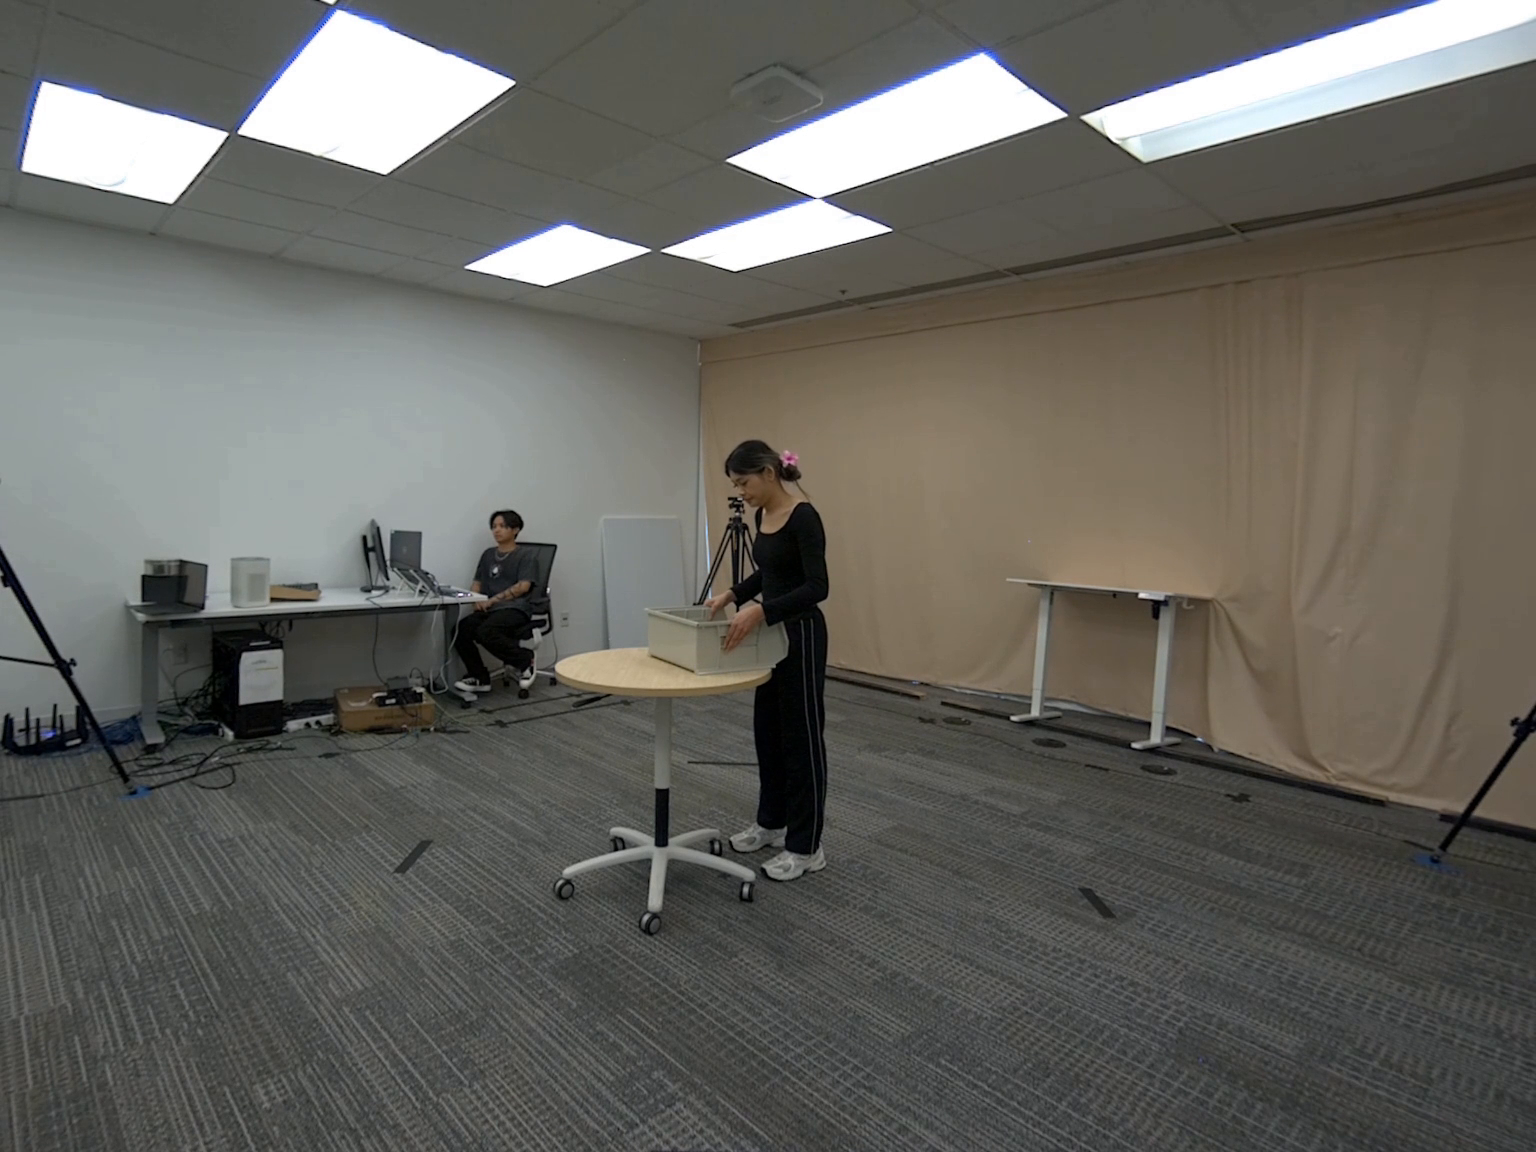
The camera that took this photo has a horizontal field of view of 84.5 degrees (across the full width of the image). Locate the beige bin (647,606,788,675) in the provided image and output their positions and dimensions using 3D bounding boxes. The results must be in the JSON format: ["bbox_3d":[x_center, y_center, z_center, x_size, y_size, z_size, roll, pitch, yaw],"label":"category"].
[{"bbox_3d":[-0.201,0.216,3.091,0.370,0.188,0.432,-5,7,-31],"label":"beige bin"}]
